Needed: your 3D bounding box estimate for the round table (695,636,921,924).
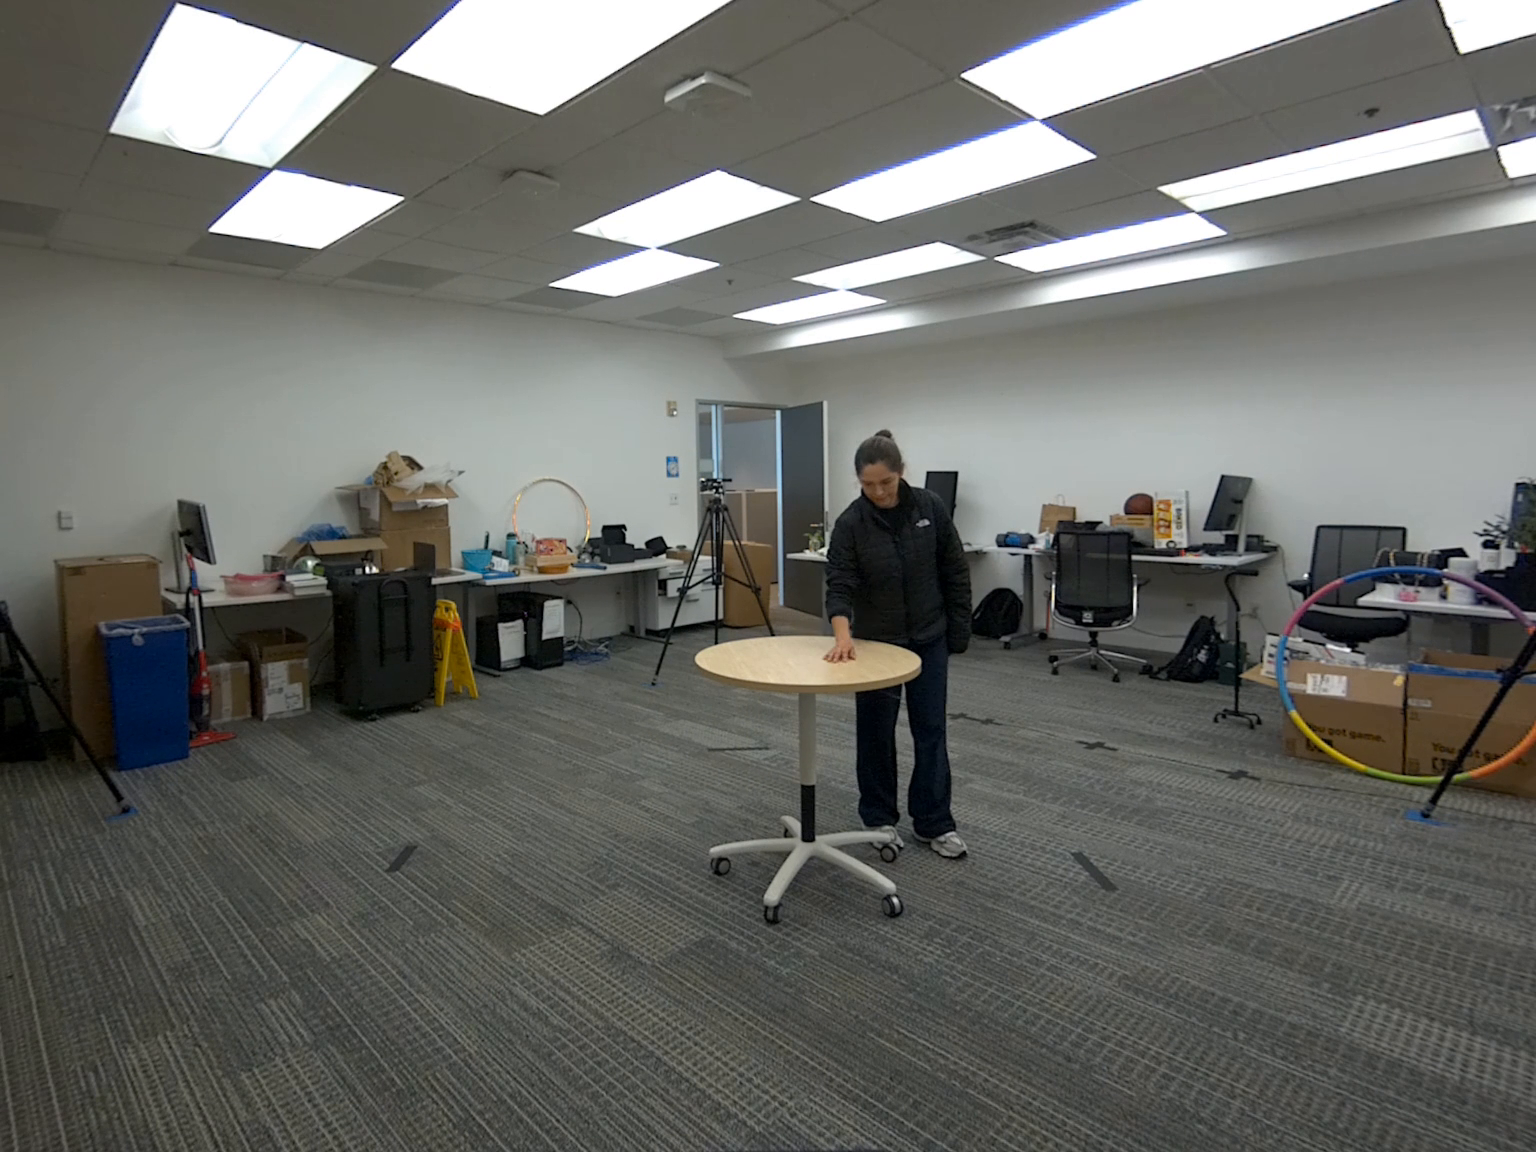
[{"bbox_3d":[0.128,0.665,2.953,0.784,0.783,0.789,-1,5,-2],"label":"round table"}]
